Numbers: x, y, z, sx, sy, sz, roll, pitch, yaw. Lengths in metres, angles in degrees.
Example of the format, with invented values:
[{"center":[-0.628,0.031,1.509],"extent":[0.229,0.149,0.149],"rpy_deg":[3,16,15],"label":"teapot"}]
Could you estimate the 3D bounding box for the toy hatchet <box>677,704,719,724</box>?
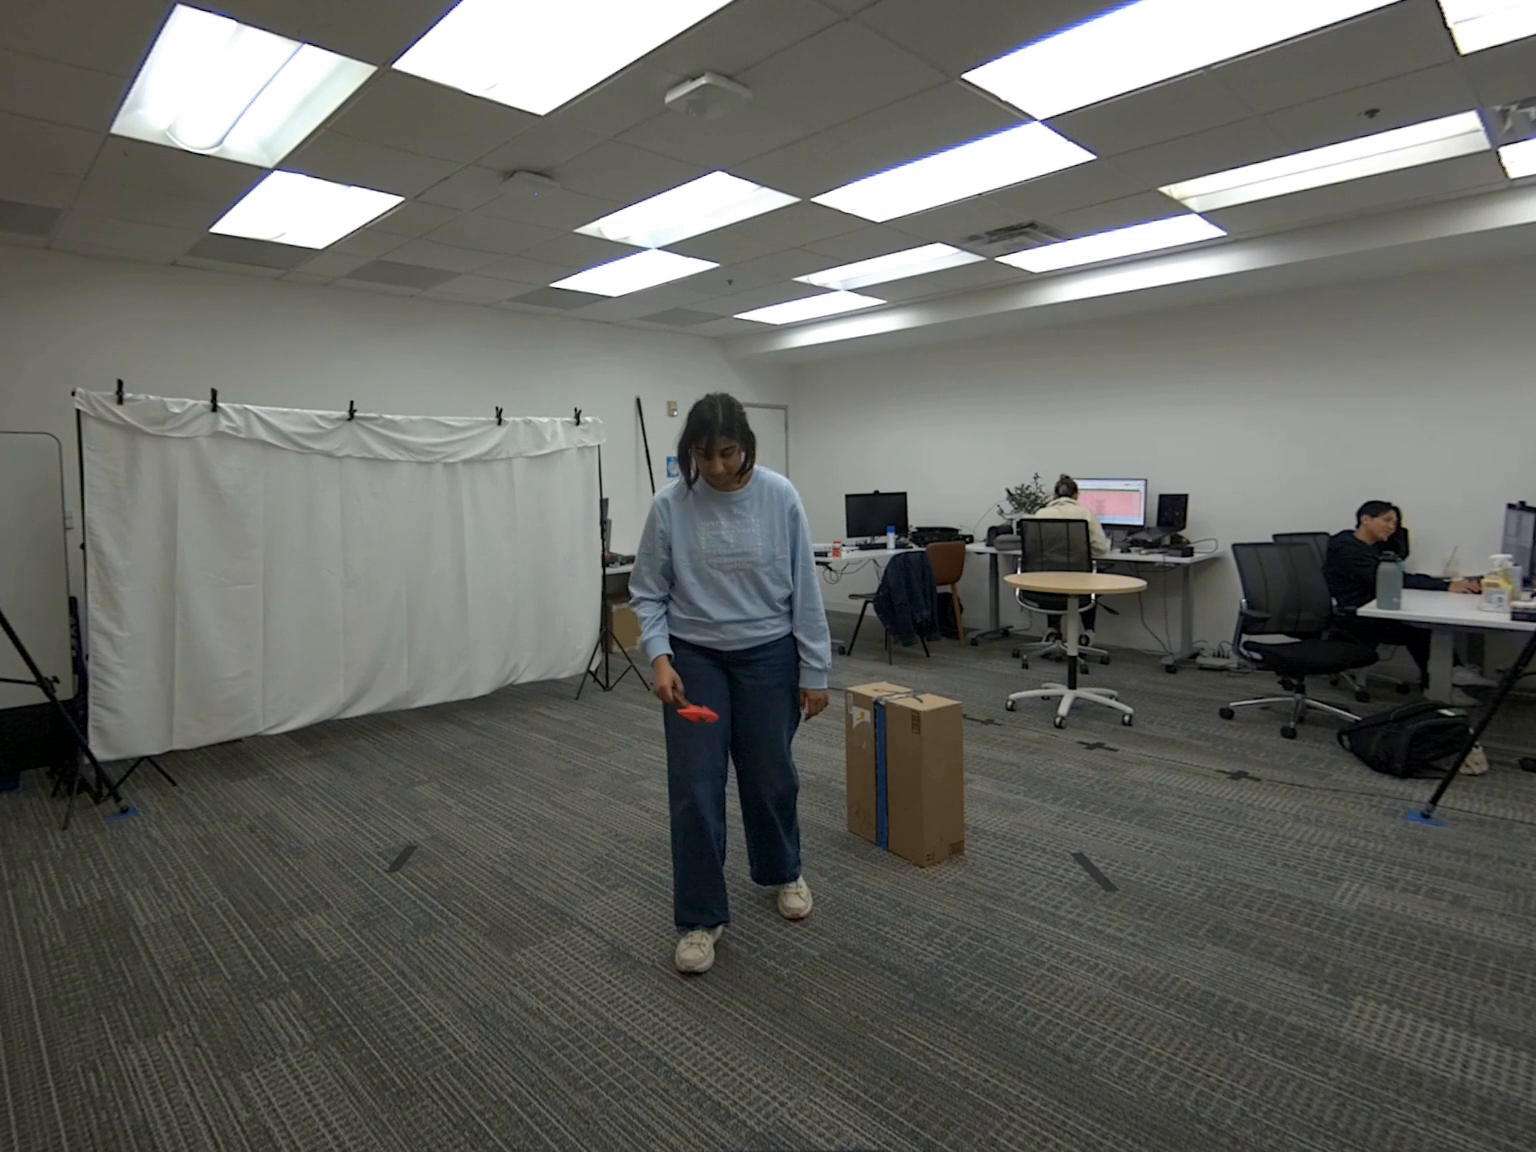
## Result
[{"center":[-0.216,0.352,2.375],"extent":[0.129,0.029,0.276],"rpy_deg":[16,8,-16],"label":"toy hatchet"}]
